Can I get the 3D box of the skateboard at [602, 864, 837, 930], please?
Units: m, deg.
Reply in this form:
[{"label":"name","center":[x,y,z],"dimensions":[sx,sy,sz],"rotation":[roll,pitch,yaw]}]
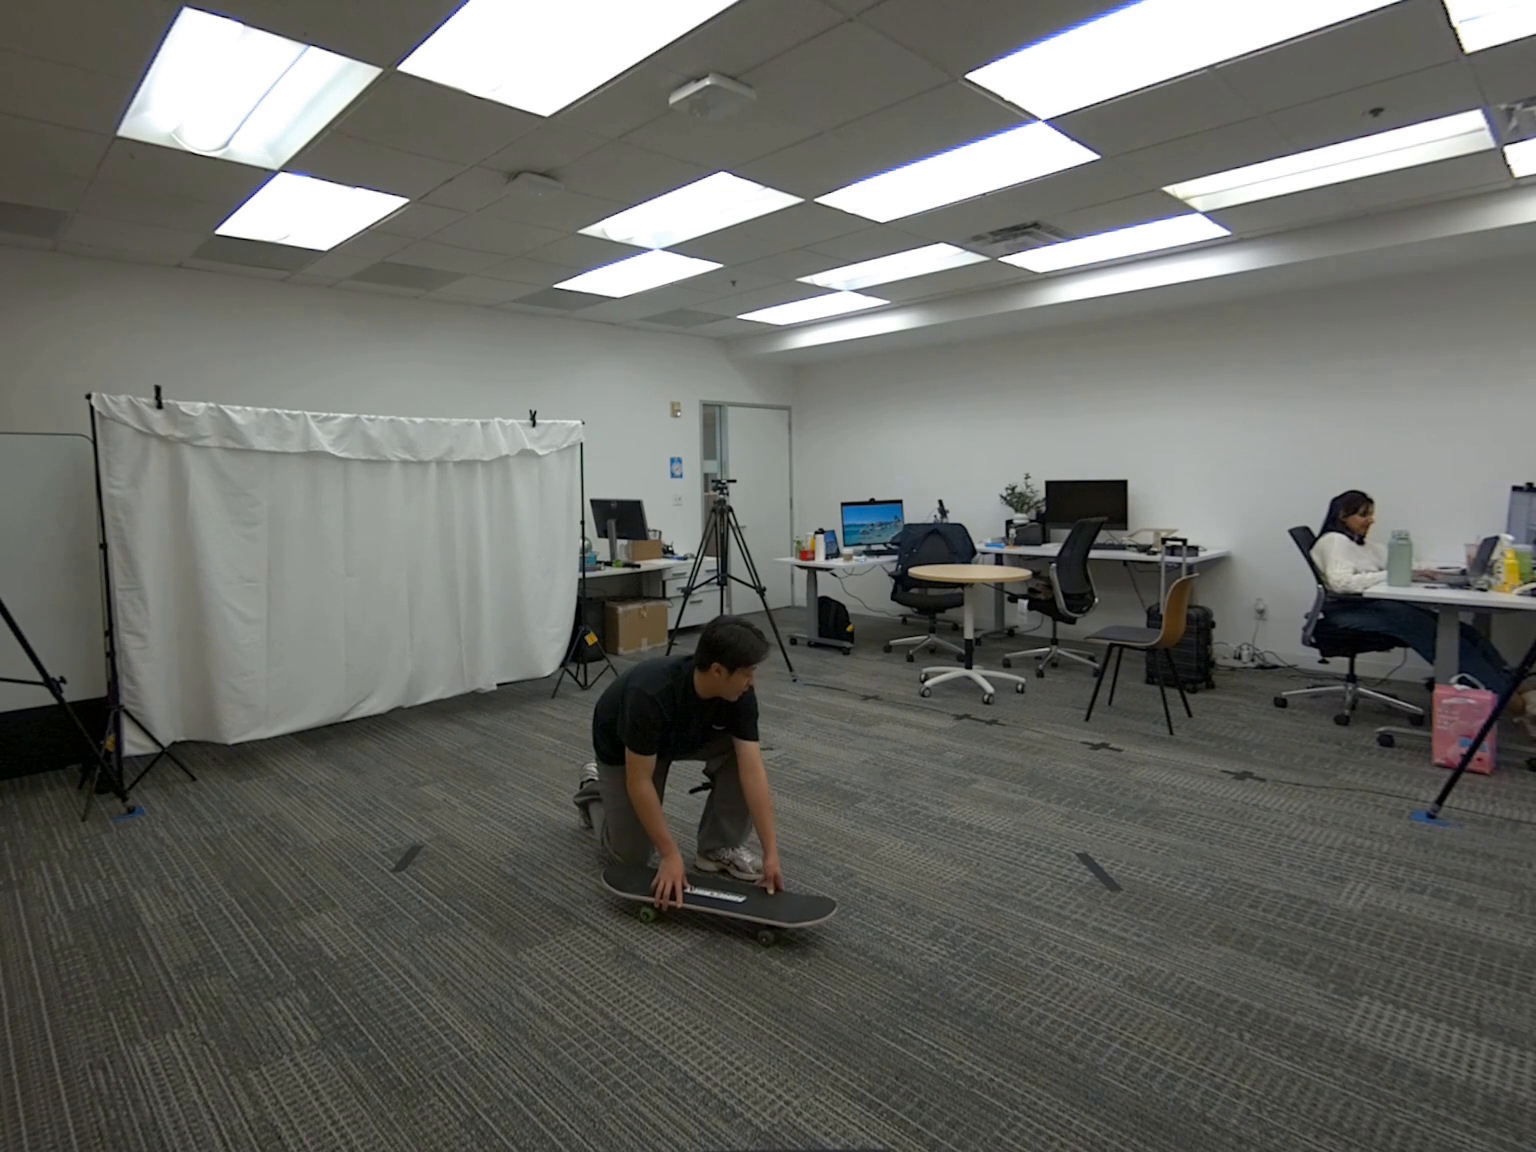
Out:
[{"label":"skateboard","center":[-0.162,1.035,2.709],"dimensions":[0.801,0.110,0.190],"rotation":[1,6,21]}]
